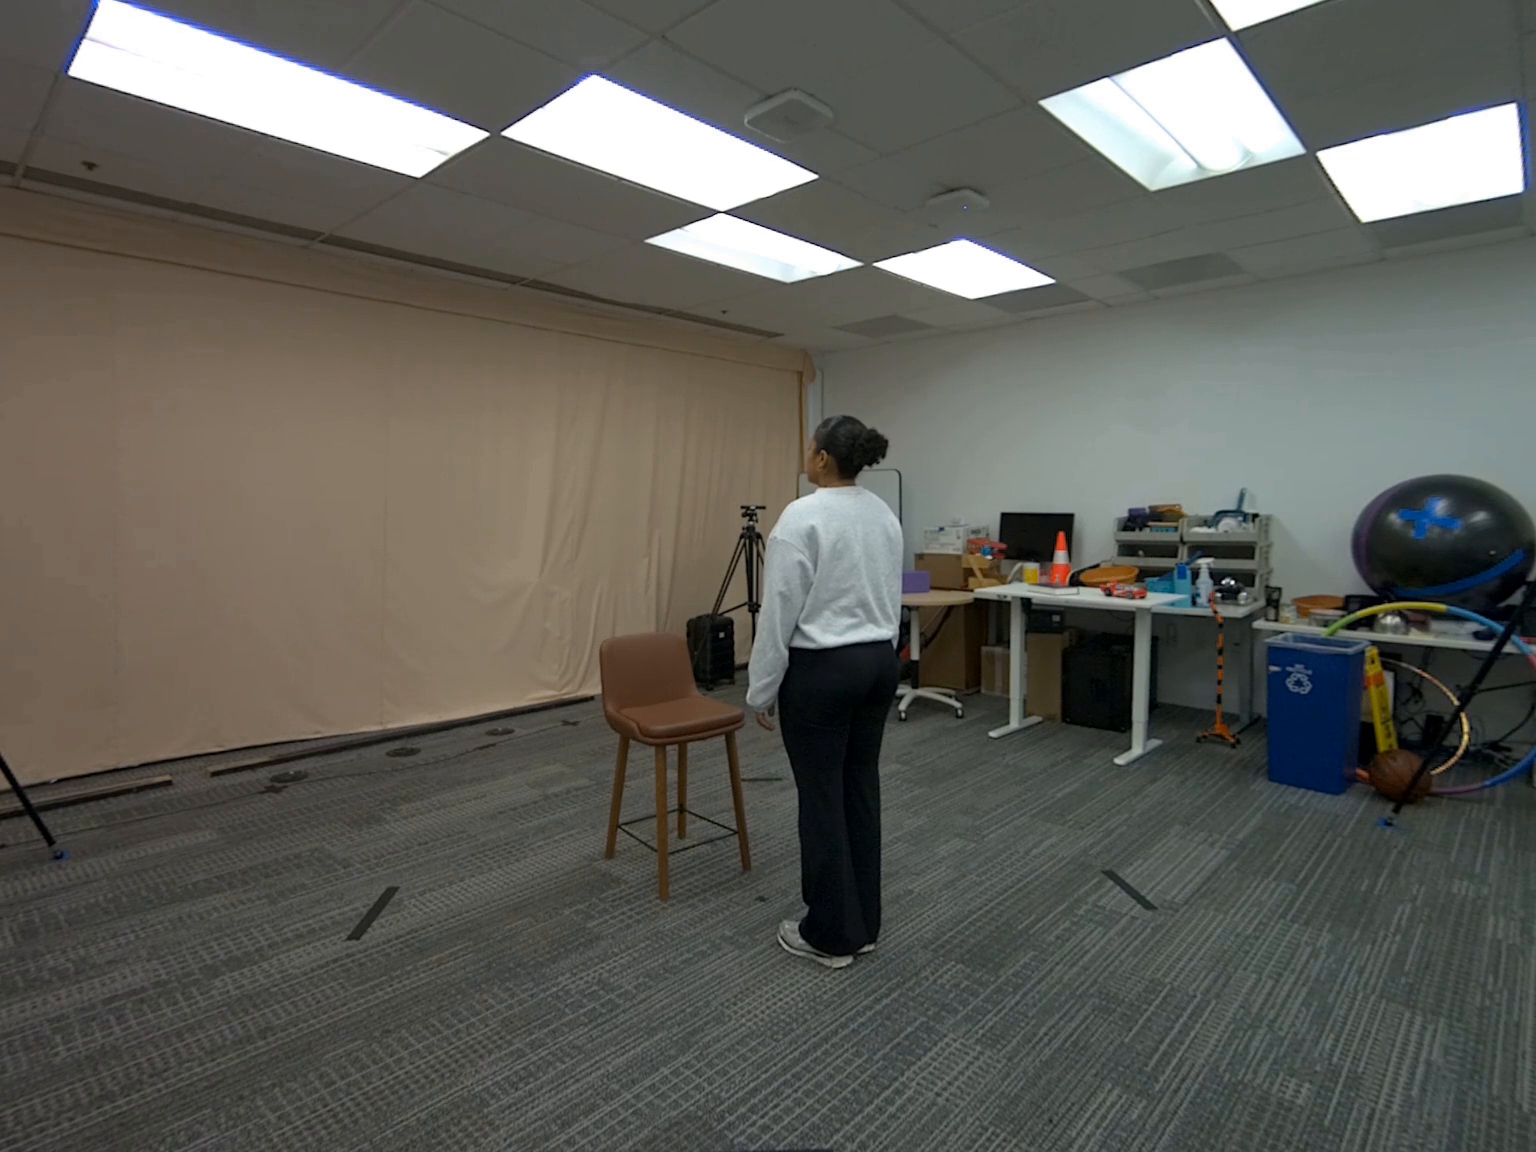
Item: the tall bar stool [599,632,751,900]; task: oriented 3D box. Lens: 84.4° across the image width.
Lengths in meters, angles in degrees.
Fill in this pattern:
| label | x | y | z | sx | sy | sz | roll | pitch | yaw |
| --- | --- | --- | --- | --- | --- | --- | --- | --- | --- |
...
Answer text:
| label | x | y | z | sx | sy | sz | roll | pitch | yaw |
| --- | --- | --- | --- | --- | --- | --- | --- | --- | --- |
| tall bar stool | -0.369 | 0.688 | 3.257 | 0.443 | 0.889 | 0.482 | -3 | 2 | -38 |
